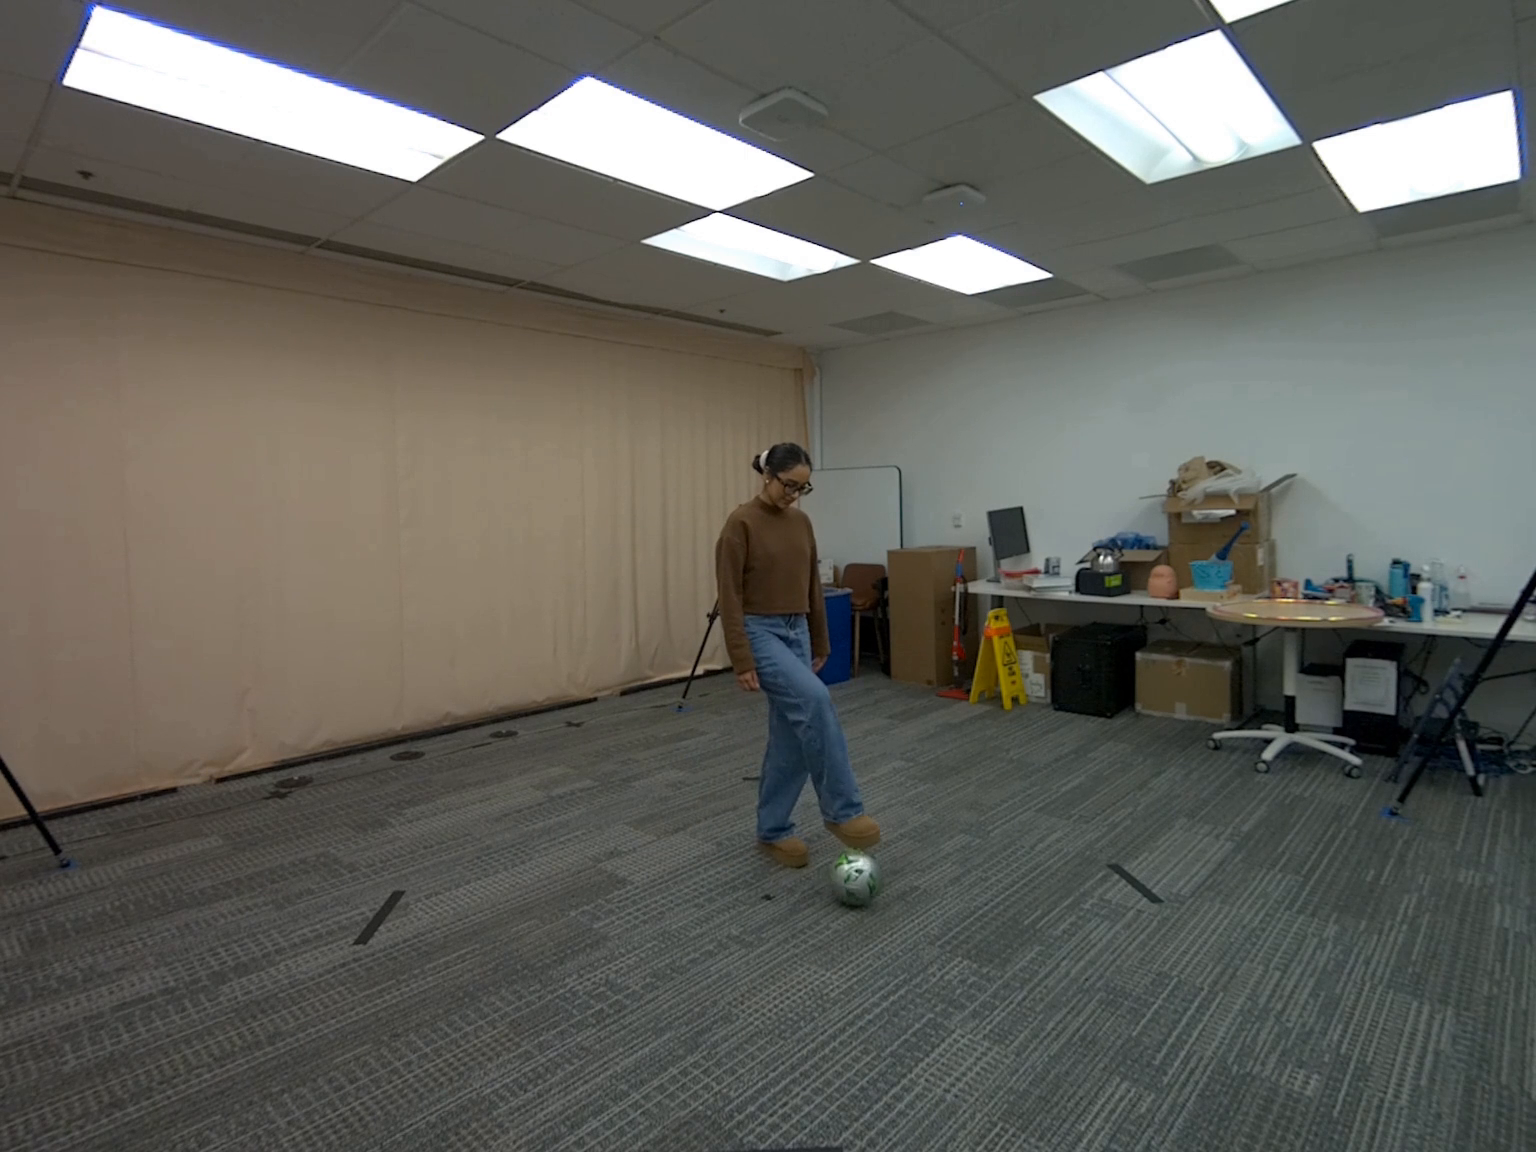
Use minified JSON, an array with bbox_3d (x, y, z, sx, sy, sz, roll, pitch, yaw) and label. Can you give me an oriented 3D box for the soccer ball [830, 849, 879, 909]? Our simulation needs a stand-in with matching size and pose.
[{"bbox_3d":[0.298,1.045,2.918,0.187,0.187,0.188,-1,4,-2],"label":"soccer ball"}]
